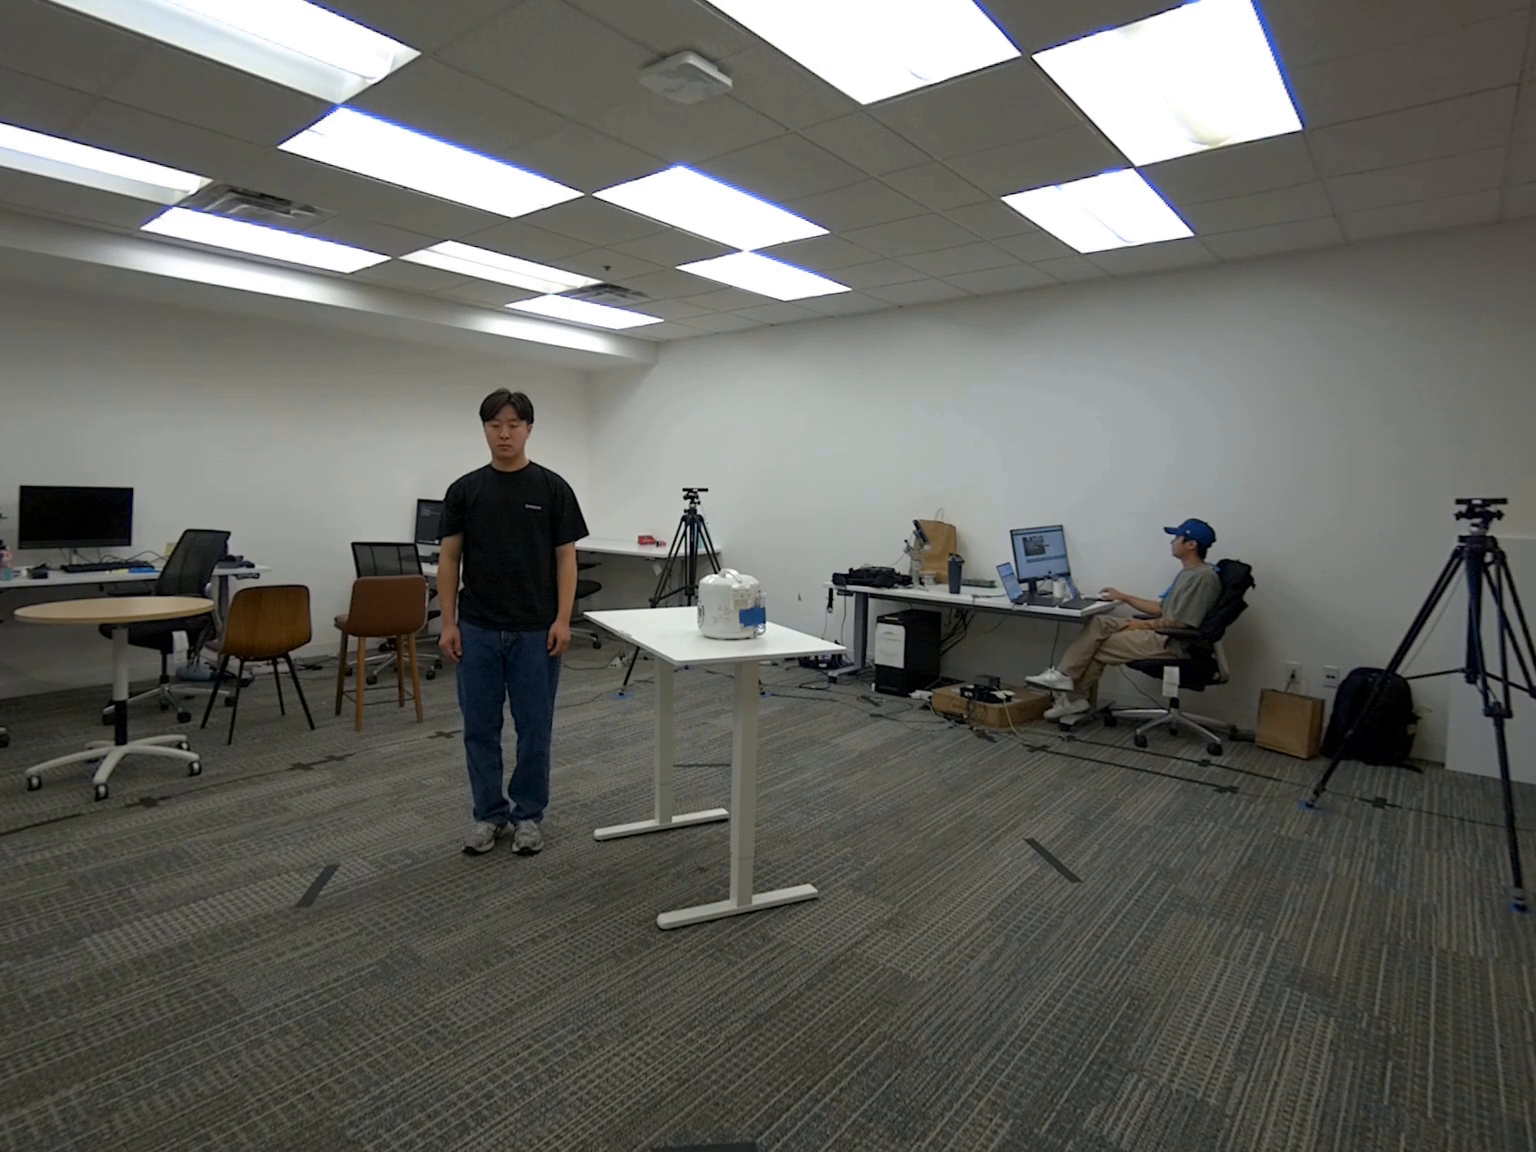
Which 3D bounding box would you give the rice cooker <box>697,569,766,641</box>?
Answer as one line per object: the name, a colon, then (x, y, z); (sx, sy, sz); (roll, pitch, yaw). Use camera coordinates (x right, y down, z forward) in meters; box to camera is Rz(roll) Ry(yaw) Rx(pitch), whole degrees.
rice cooker: (-0.144, 0.089, 2.938); (0.212, 0.232, 0.226); (-1, 4, -24)
